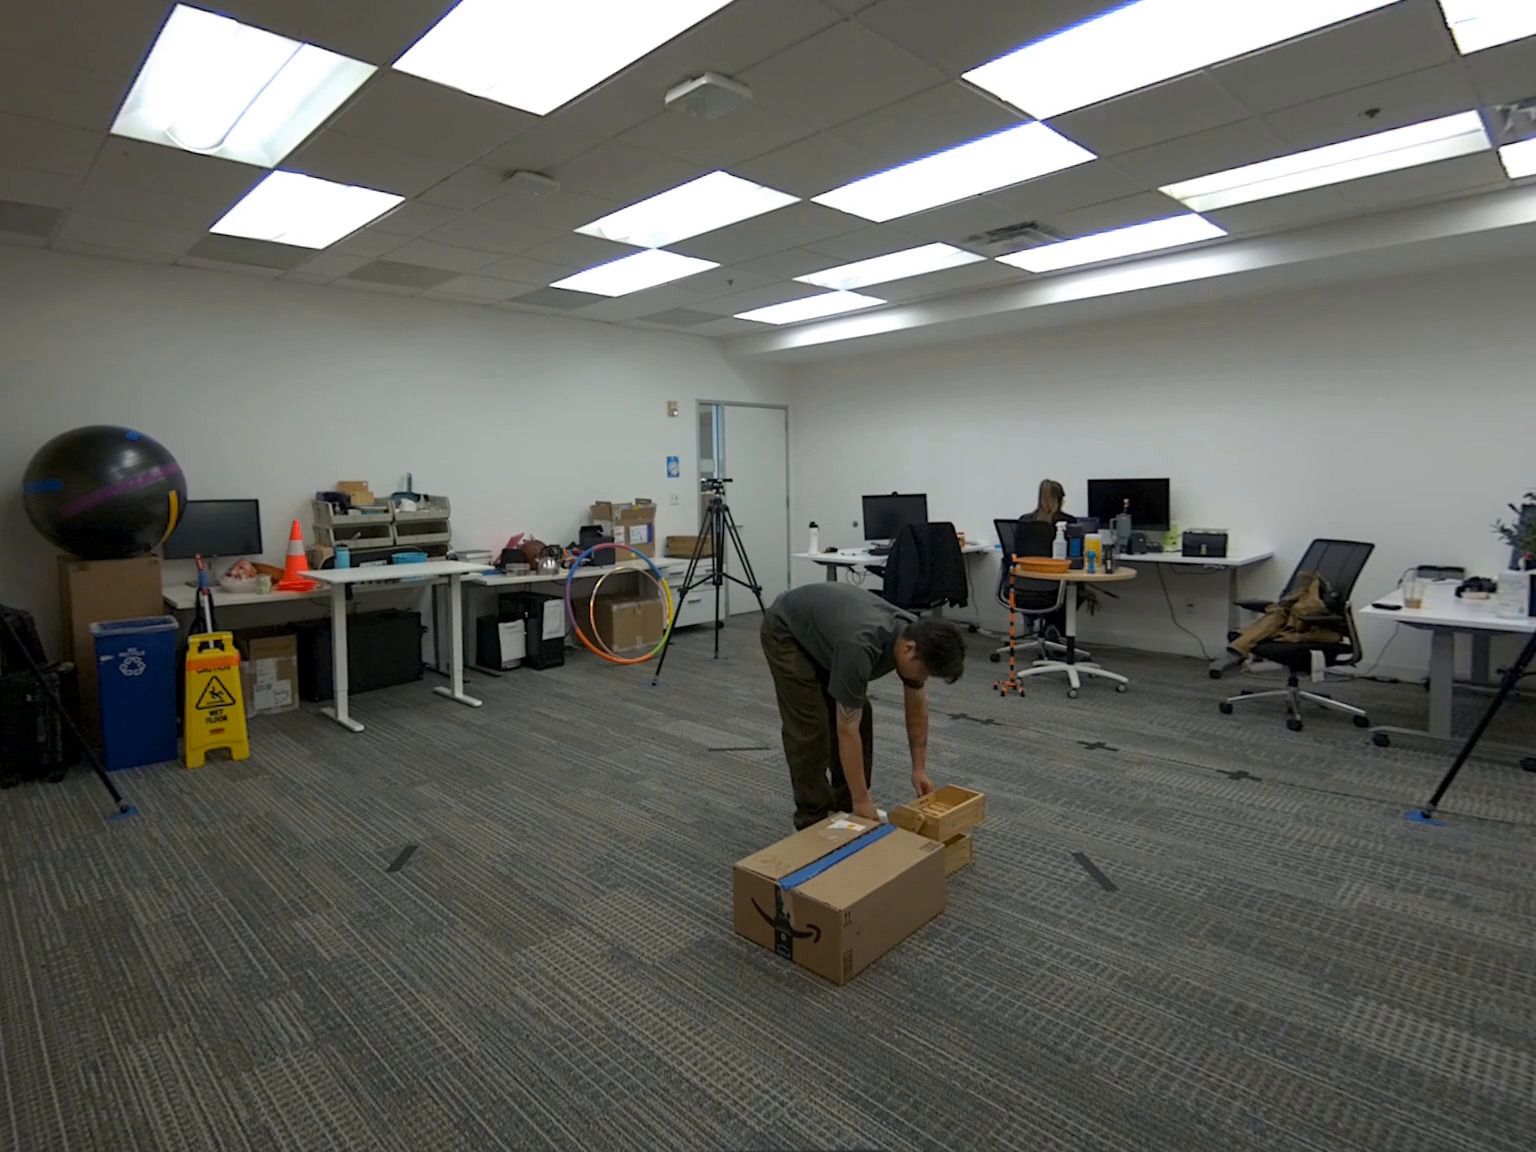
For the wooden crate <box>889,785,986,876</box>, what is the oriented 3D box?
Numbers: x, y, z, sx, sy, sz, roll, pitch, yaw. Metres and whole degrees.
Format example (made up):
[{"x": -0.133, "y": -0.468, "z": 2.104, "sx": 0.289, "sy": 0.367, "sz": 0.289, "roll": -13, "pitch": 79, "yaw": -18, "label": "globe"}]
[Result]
[{"x": 0.556, "y": 0.899, "z": 3.059, "sx": 0.316, "sy": 0.272, "sz": 0.311, "roll": -5, "pitch": 7, "yaw": -44, "label": "wooden crate"}]
